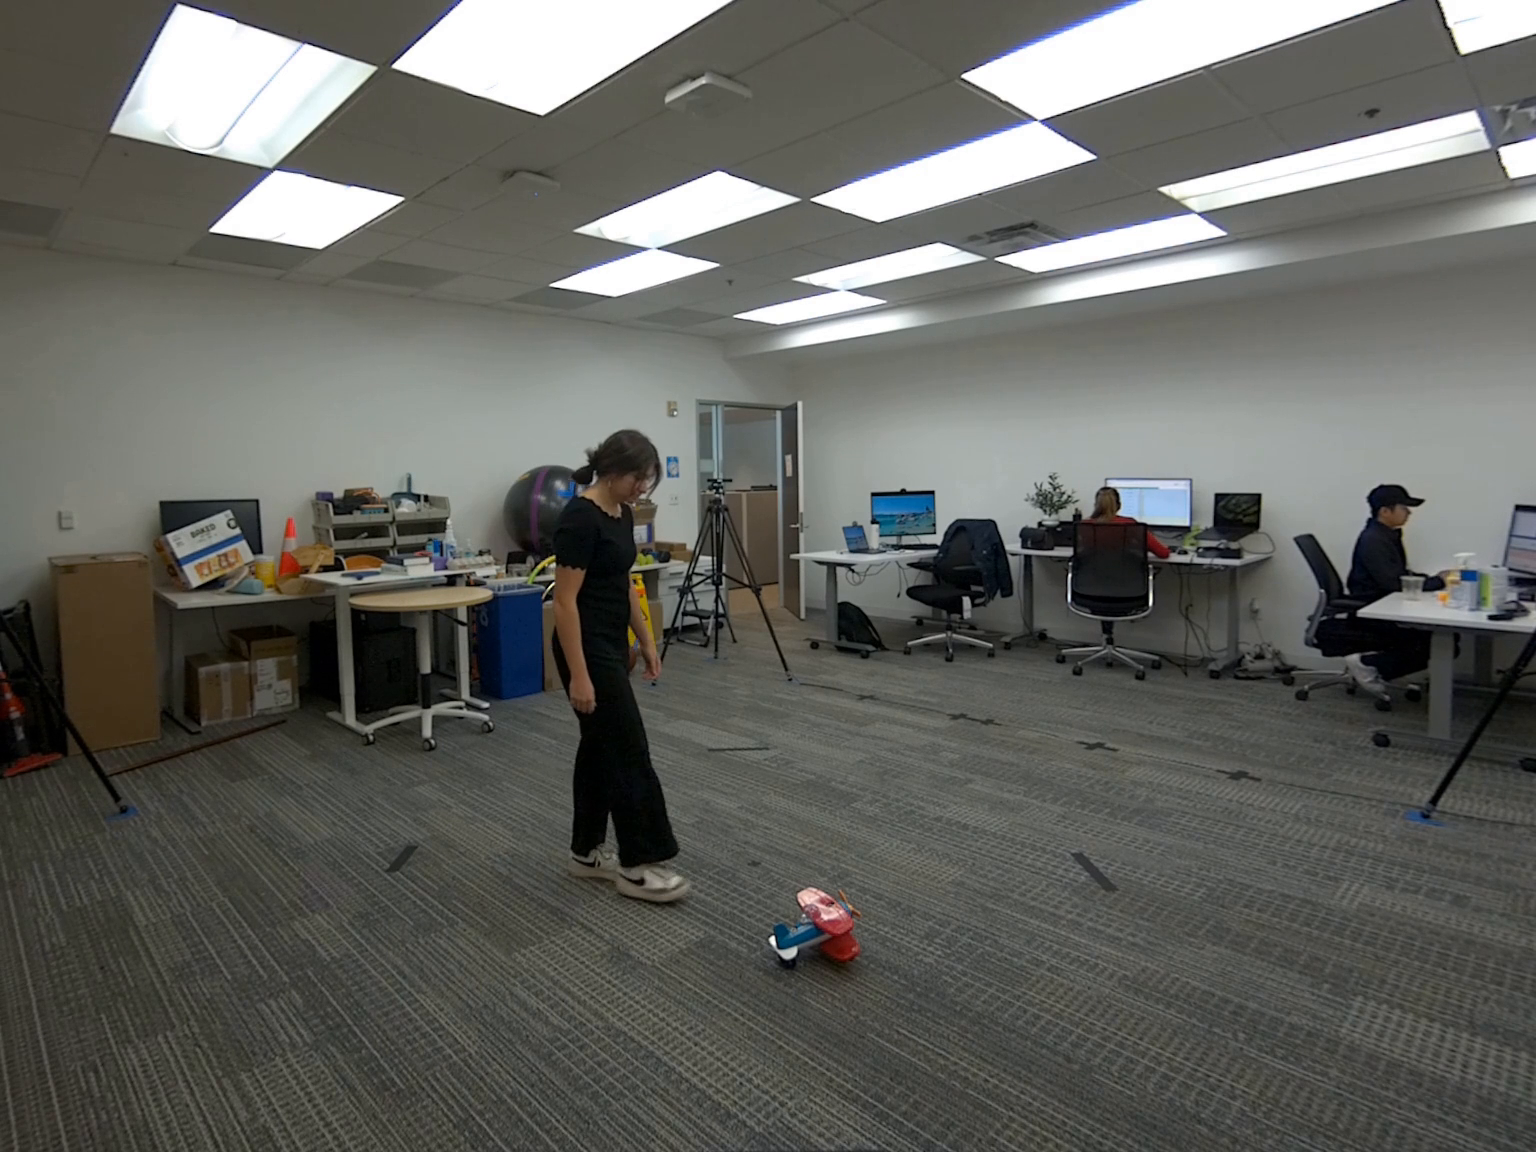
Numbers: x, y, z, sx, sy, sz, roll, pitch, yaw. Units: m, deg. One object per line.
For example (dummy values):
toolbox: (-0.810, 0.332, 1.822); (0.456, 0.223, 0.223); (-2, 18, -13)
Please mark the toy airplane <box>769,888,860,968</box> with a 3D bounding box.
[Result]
toy airplane: (0.152, 1.039, 2.471); (0.259, 0.156, 0.253); (5, 8, 38)
